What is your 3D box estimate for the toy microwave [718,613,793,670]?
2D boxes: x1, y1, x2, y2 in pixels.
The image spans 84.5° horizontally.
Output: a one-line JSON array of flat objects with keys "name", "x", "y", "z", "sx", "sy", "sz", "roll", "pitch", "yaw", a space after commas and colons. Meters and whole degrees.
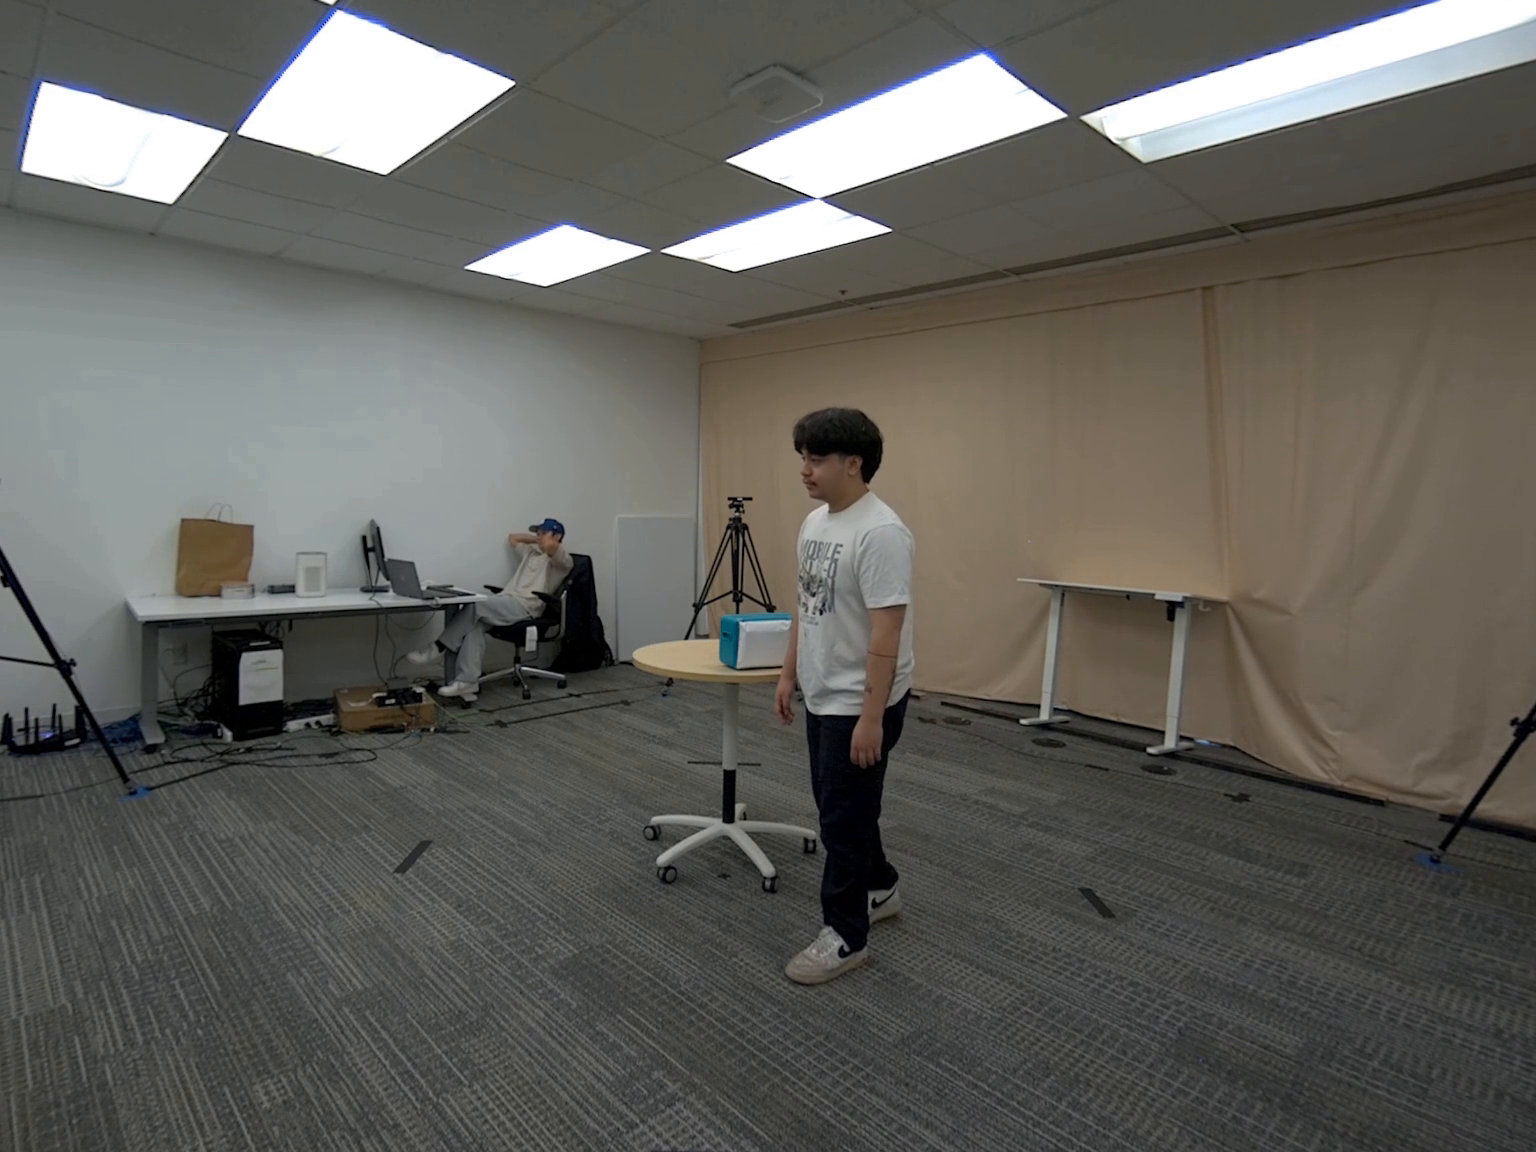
[{"name": "toy microwave", "x": -0.022, "y": 0.232, "z": 3.011, "sx": 0.281, "sy": 0.183, "sz": 0.155, "roll": -1, "pitch": 4, "yaw": -26}]
